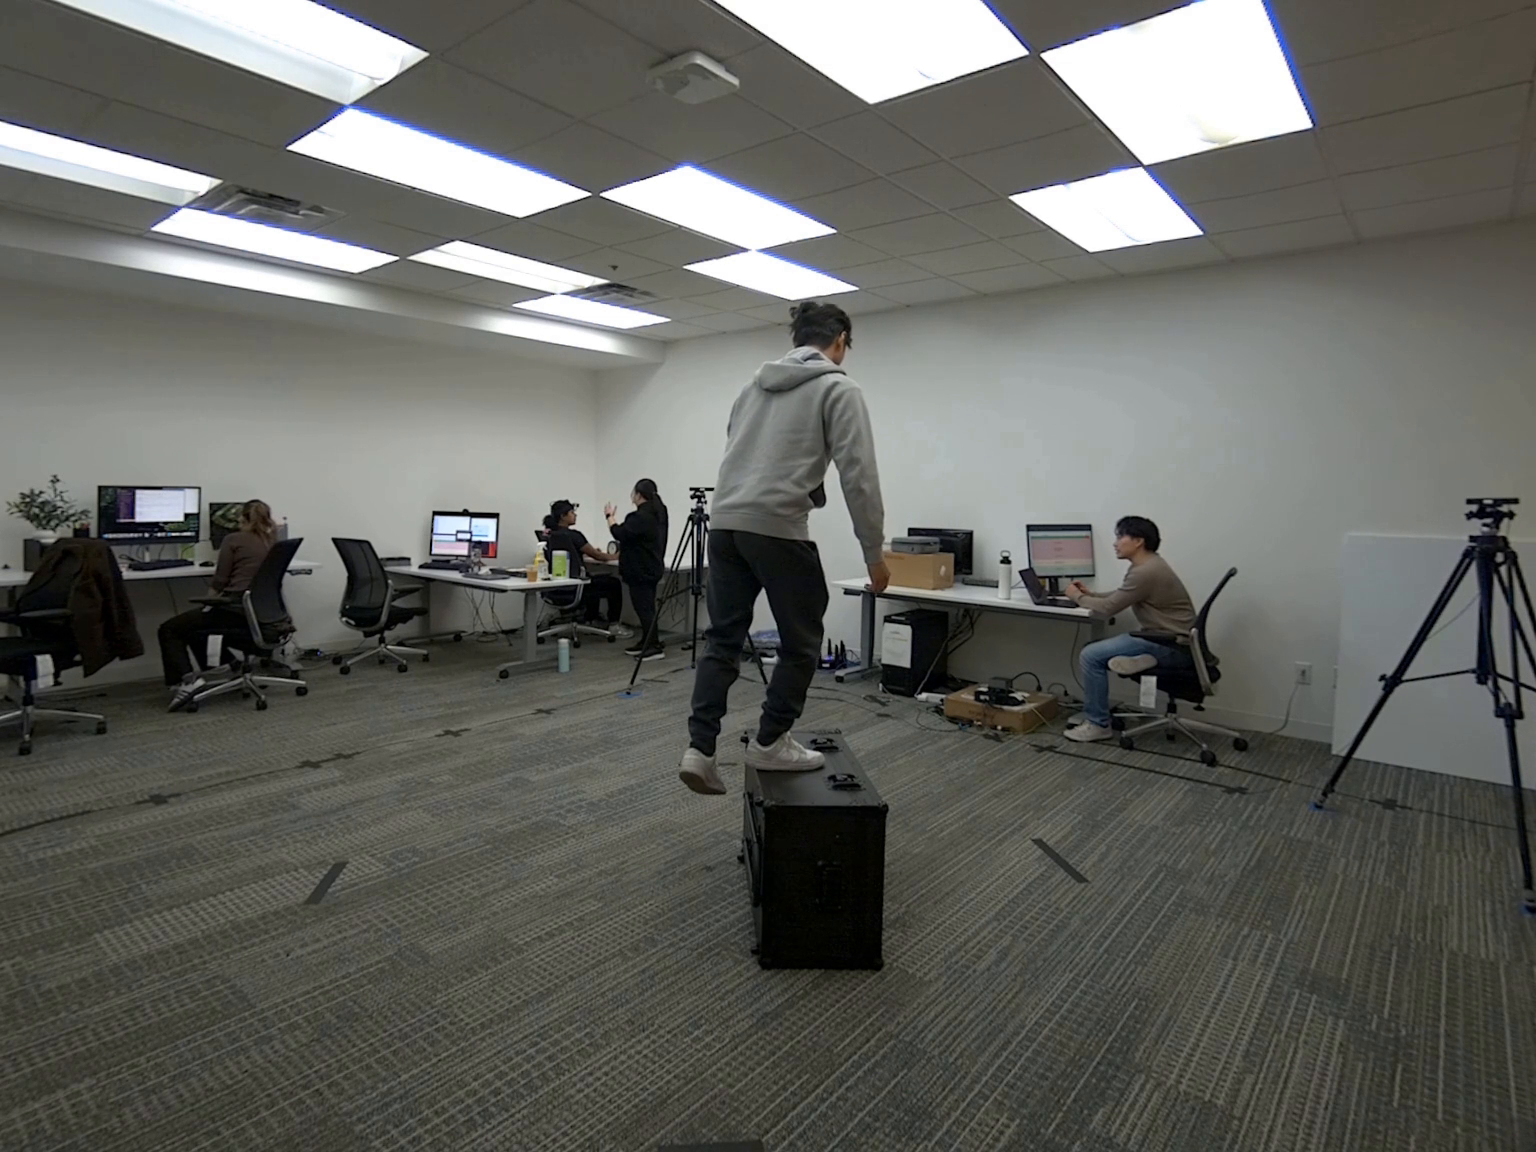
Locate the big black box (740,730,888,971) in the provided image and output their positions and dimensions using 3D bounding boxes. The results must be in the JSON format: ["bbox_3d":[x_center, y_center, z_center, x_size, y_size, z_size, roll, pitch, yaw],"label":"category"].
[{"bbox_3d":[0.101,0.854,2.869,0.395,0.519,0.868,1,5,-5],"label":"big black box"}]
